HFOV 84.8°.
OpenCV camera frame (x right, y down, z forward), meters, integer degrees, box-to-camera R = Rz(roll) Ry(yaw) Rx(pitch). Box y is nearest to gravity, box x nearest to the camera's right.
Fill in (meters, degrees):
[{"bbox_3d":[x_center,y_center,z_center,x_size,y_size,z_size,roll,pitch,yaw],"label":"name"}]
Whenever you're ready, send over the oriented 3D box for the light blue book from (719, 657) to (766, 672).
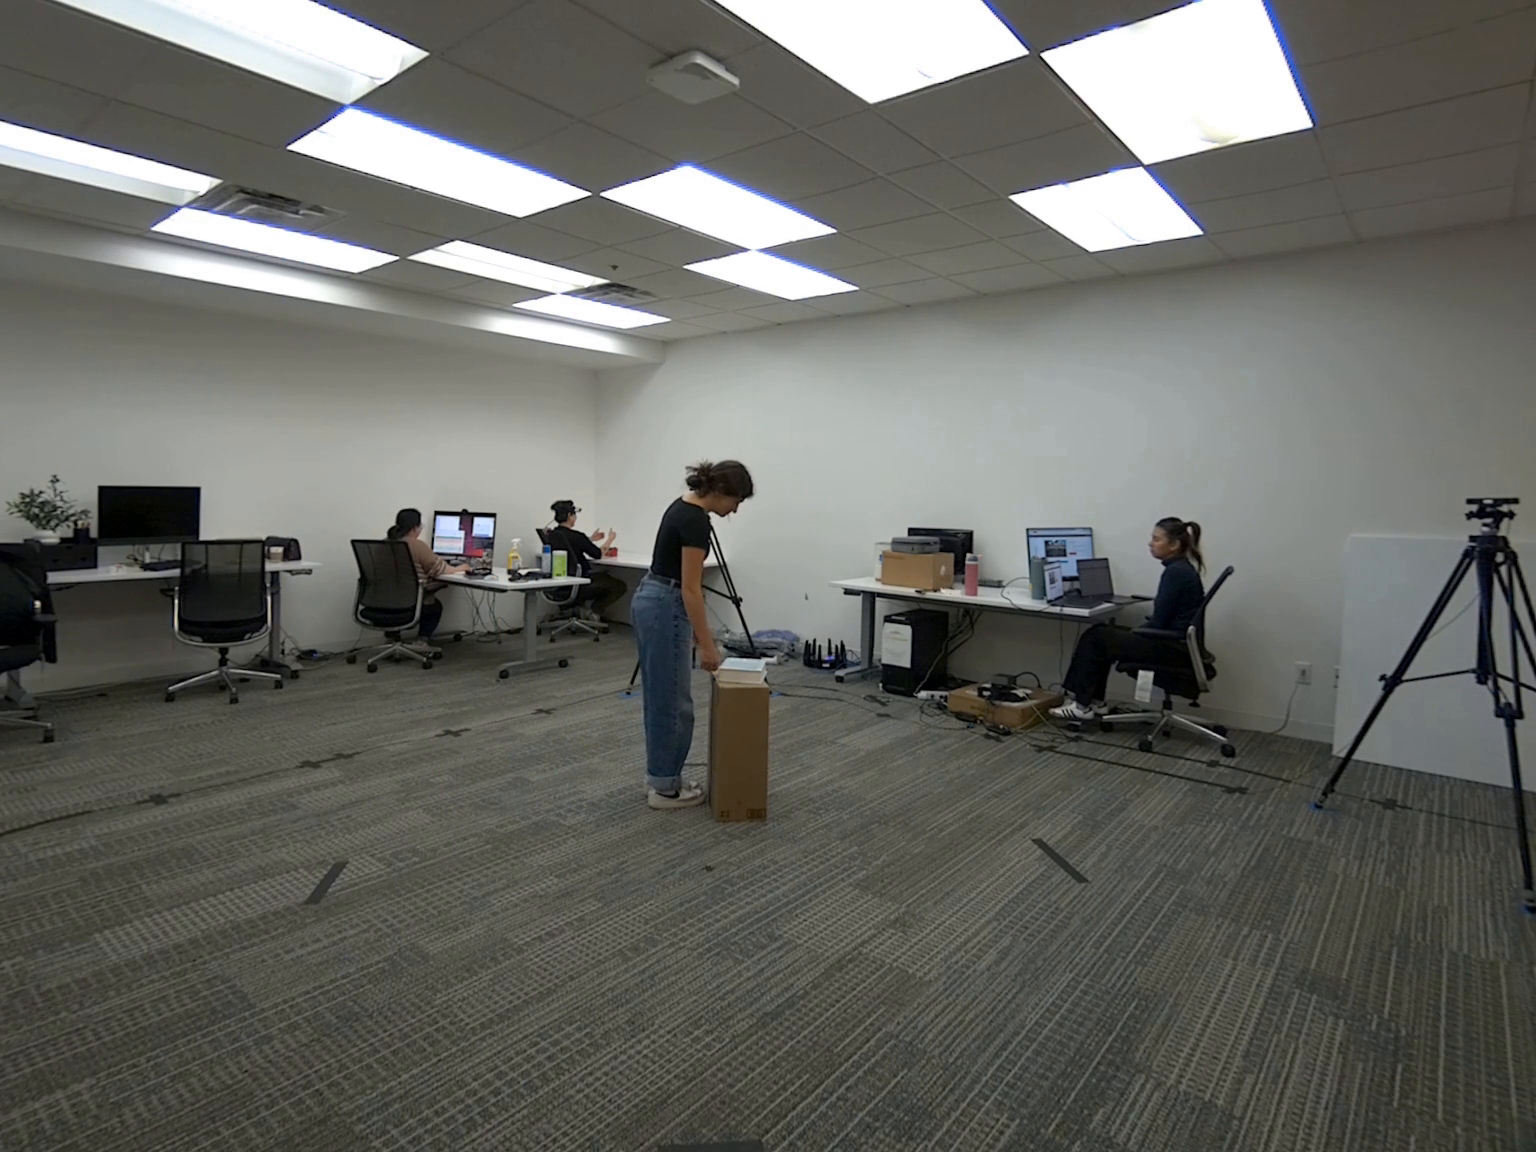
[{"bbox_3d":[-0.127,0.419,3.765,0.193,0.059,0.260,2,5,6],"label":"light blue book"}]
